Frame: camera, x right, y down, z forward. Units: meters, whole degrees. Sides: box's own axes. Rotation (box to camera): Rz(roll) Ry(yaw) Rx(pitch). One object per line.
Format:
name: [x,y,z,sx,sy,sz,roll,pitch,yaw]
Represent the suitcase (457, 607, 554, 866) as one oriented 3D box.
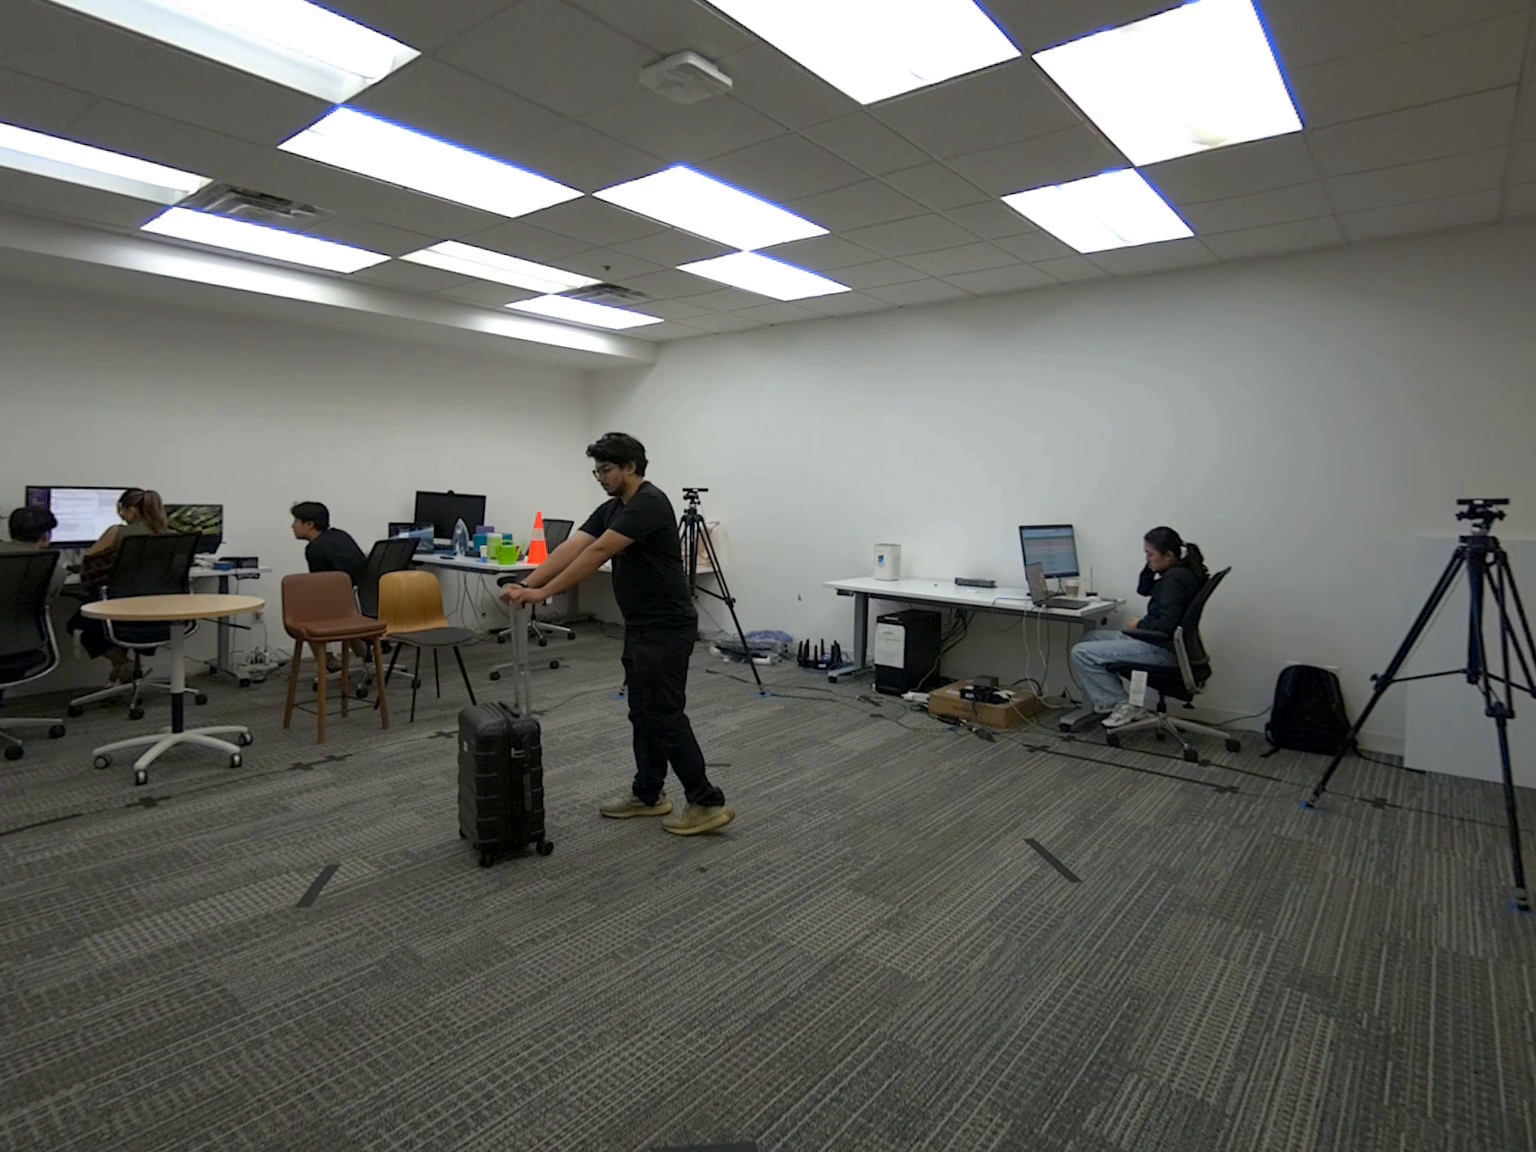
suitcase: [-1.050,0.572,3.223,0.251,0.973,0.396,-5,7,-28]
